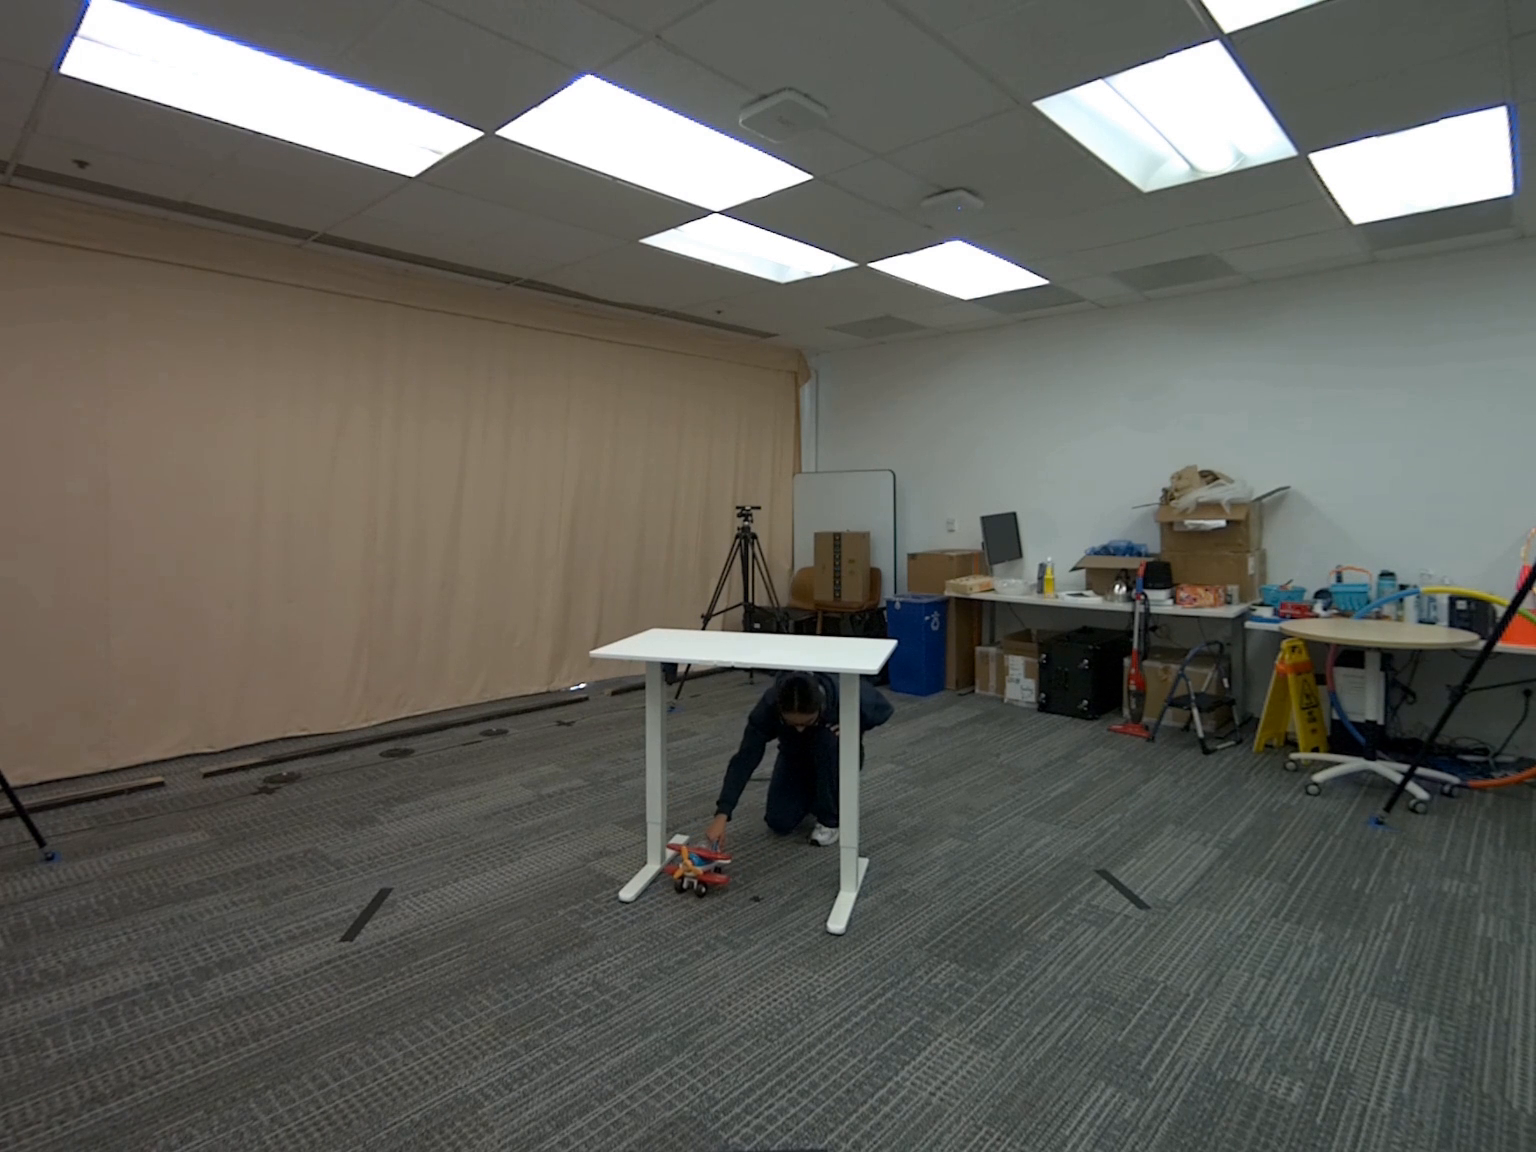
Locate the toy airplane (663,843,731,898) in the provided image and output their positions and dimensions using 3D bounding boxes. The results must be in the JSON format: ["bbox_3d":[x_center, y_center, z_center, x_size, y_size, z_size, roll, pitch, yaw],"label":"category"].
[{"bbox_3d":[-0.239,1.062,3.098,0.251,0.156,0.261,-1,7,-2],"label":"toy airplane"}]
